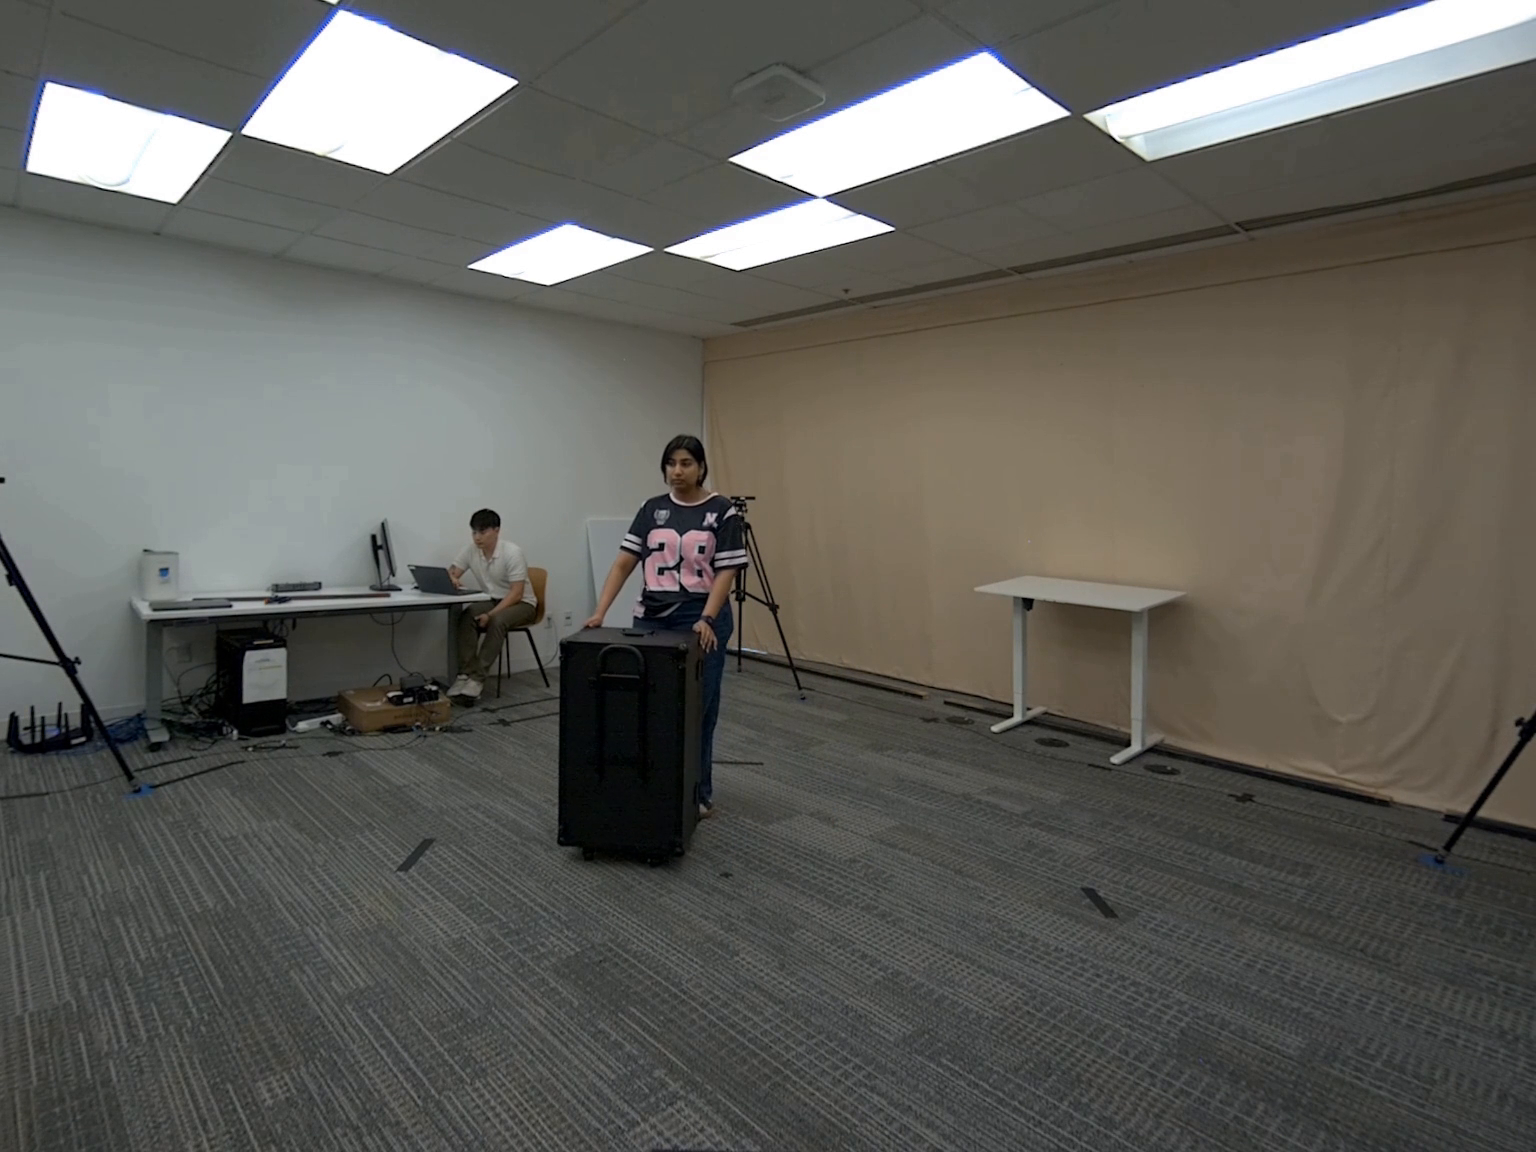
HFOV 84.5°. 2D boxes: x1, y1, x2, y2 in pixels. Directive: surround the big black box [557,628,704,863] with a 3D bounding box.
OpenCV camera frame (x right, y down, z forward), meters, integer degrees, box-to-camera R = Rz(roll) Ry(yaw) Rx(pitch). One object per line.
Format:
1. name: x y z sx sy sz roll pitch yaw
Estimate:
1. big black box: -0.527 0.659 3.266 0.526 0.866 0.384 2 4 6
